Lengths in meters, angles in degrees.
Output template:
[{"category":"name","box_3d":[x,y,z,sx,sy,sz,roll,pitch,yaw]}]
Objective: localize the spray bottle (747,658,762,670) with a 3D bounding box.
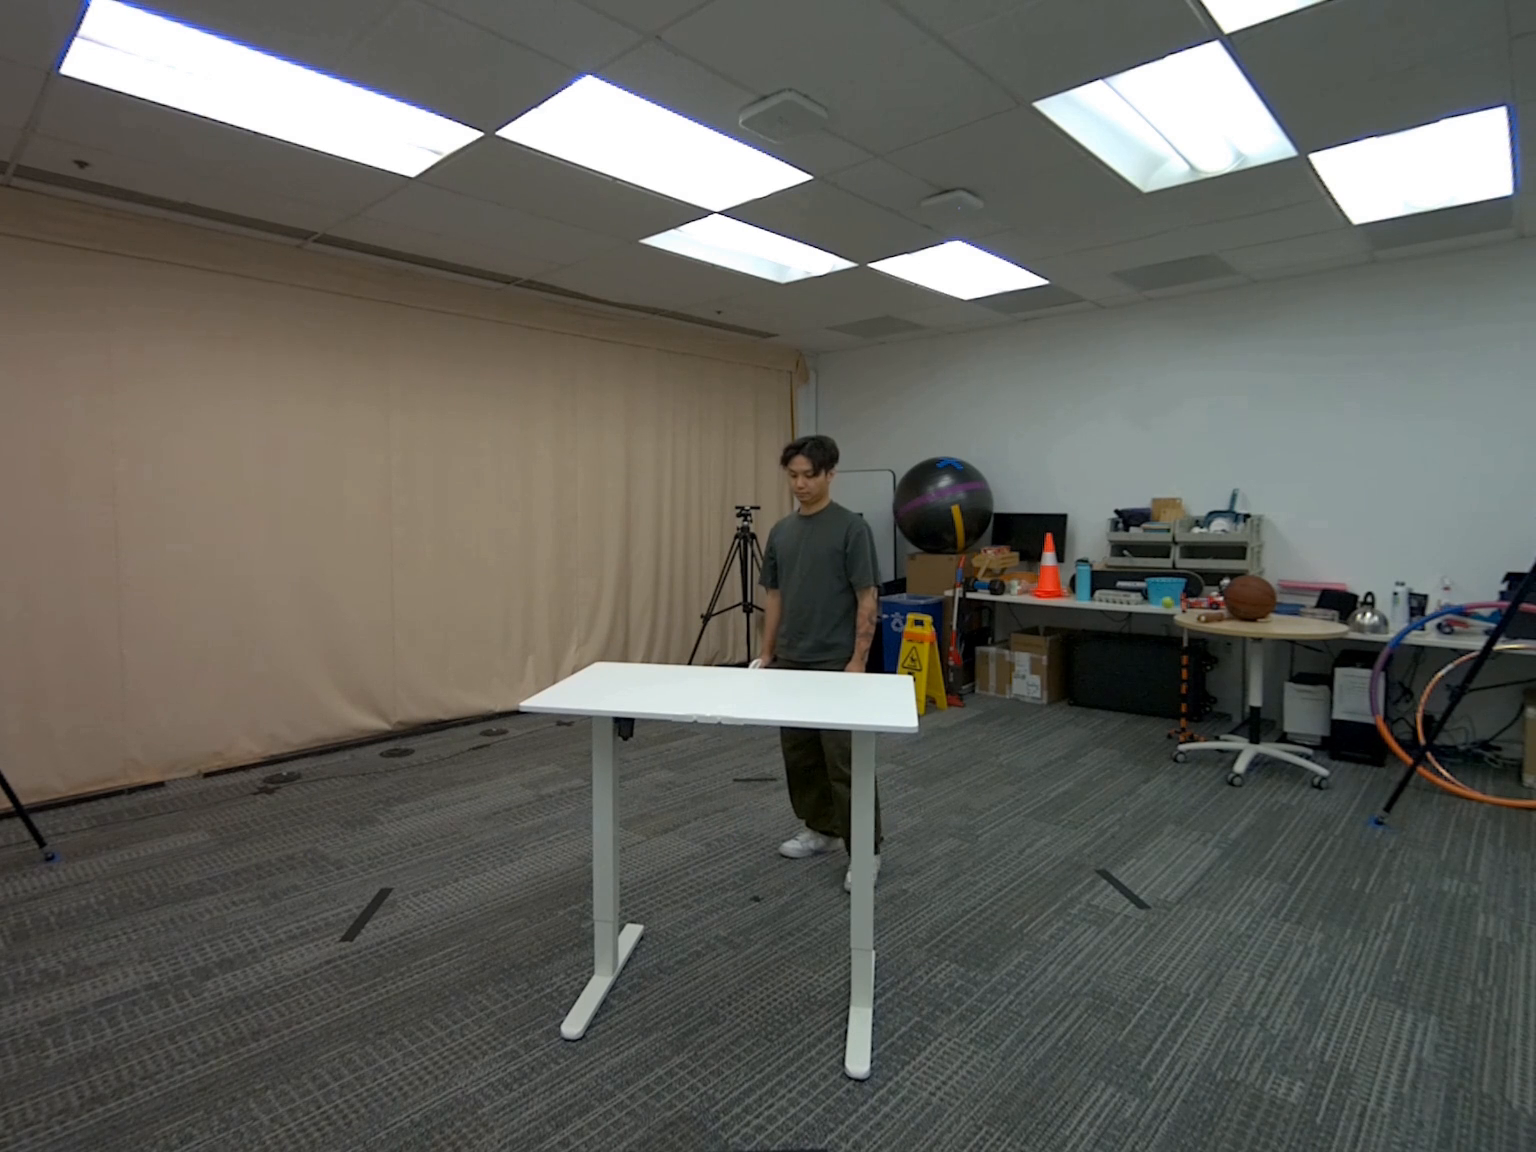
[{"category":"spray bottle","box_3d":[0.020,0.443,3.486,0.287,0.090,0.090,46,6,-38]}]
